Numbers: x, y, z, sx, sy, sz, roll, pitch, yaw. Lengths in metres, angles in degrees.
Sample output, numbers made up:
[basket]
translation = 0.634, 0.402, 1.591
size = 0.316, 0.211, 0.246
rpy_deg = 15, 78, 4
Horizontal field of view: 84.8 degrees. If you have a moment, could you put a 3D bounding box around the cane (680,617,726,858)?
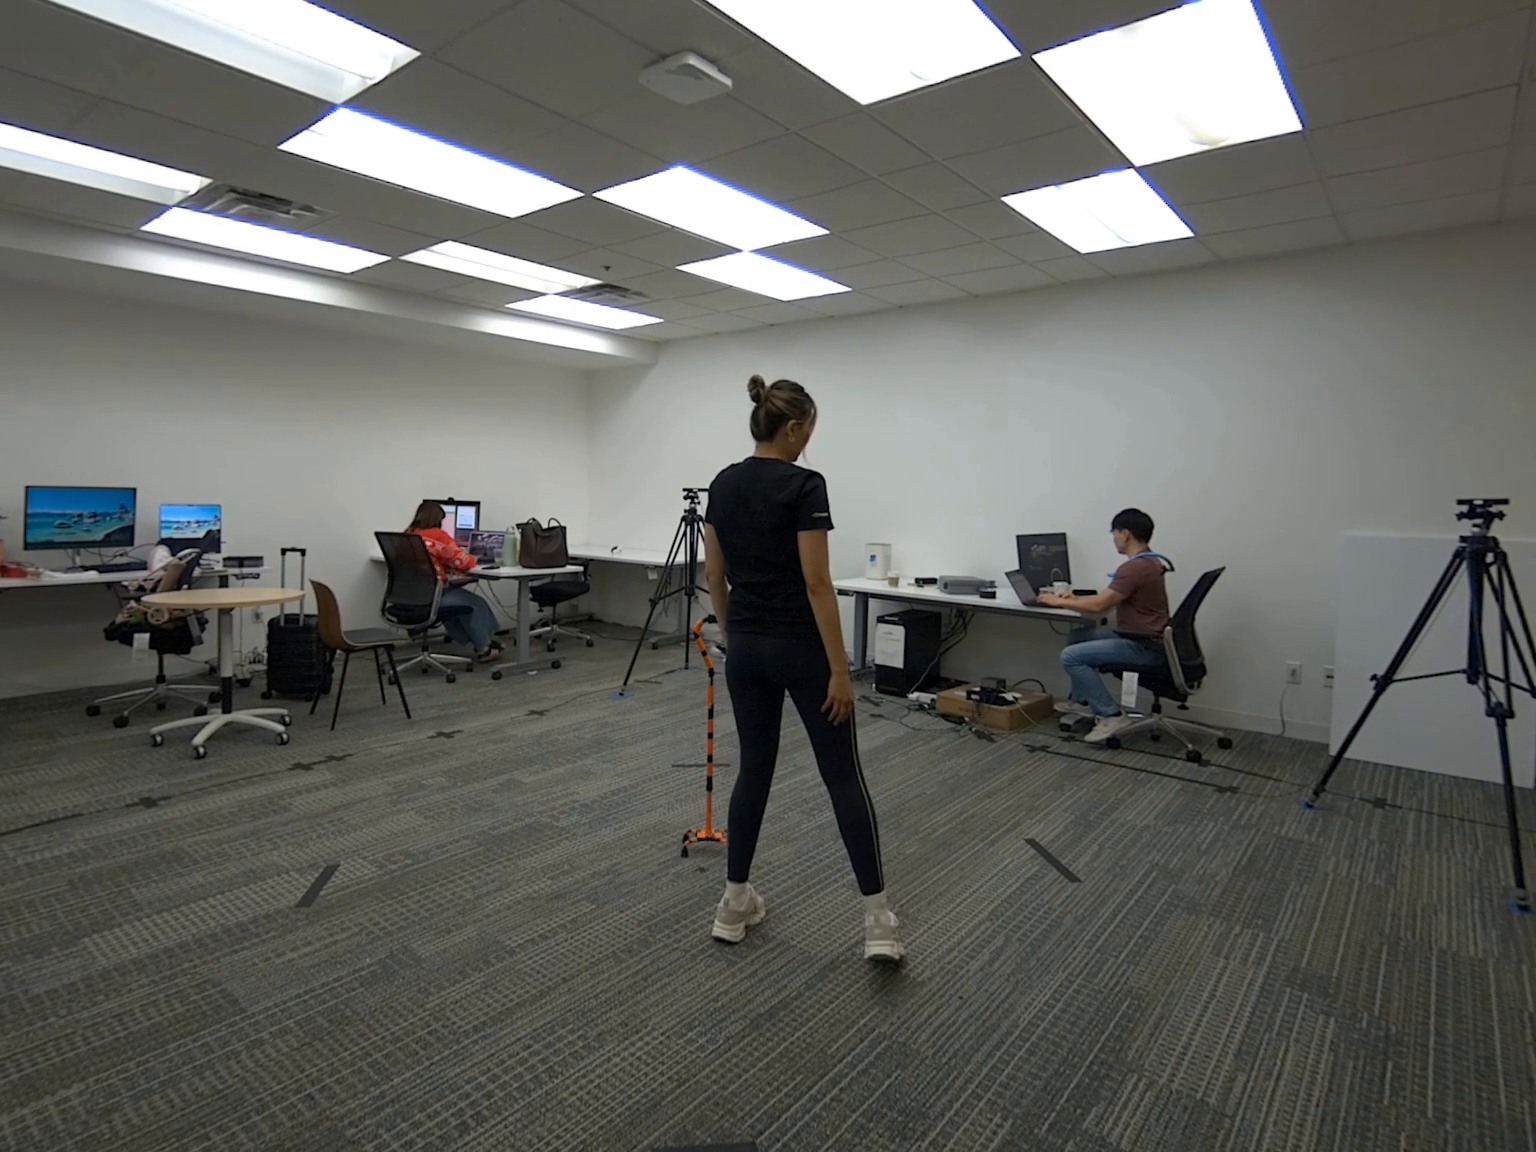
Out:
[cane]
translation = -0.233, 0.603, 3.260
size = 0.206, 0.905, 0.152
rpy_deg = 0, 3, -3
